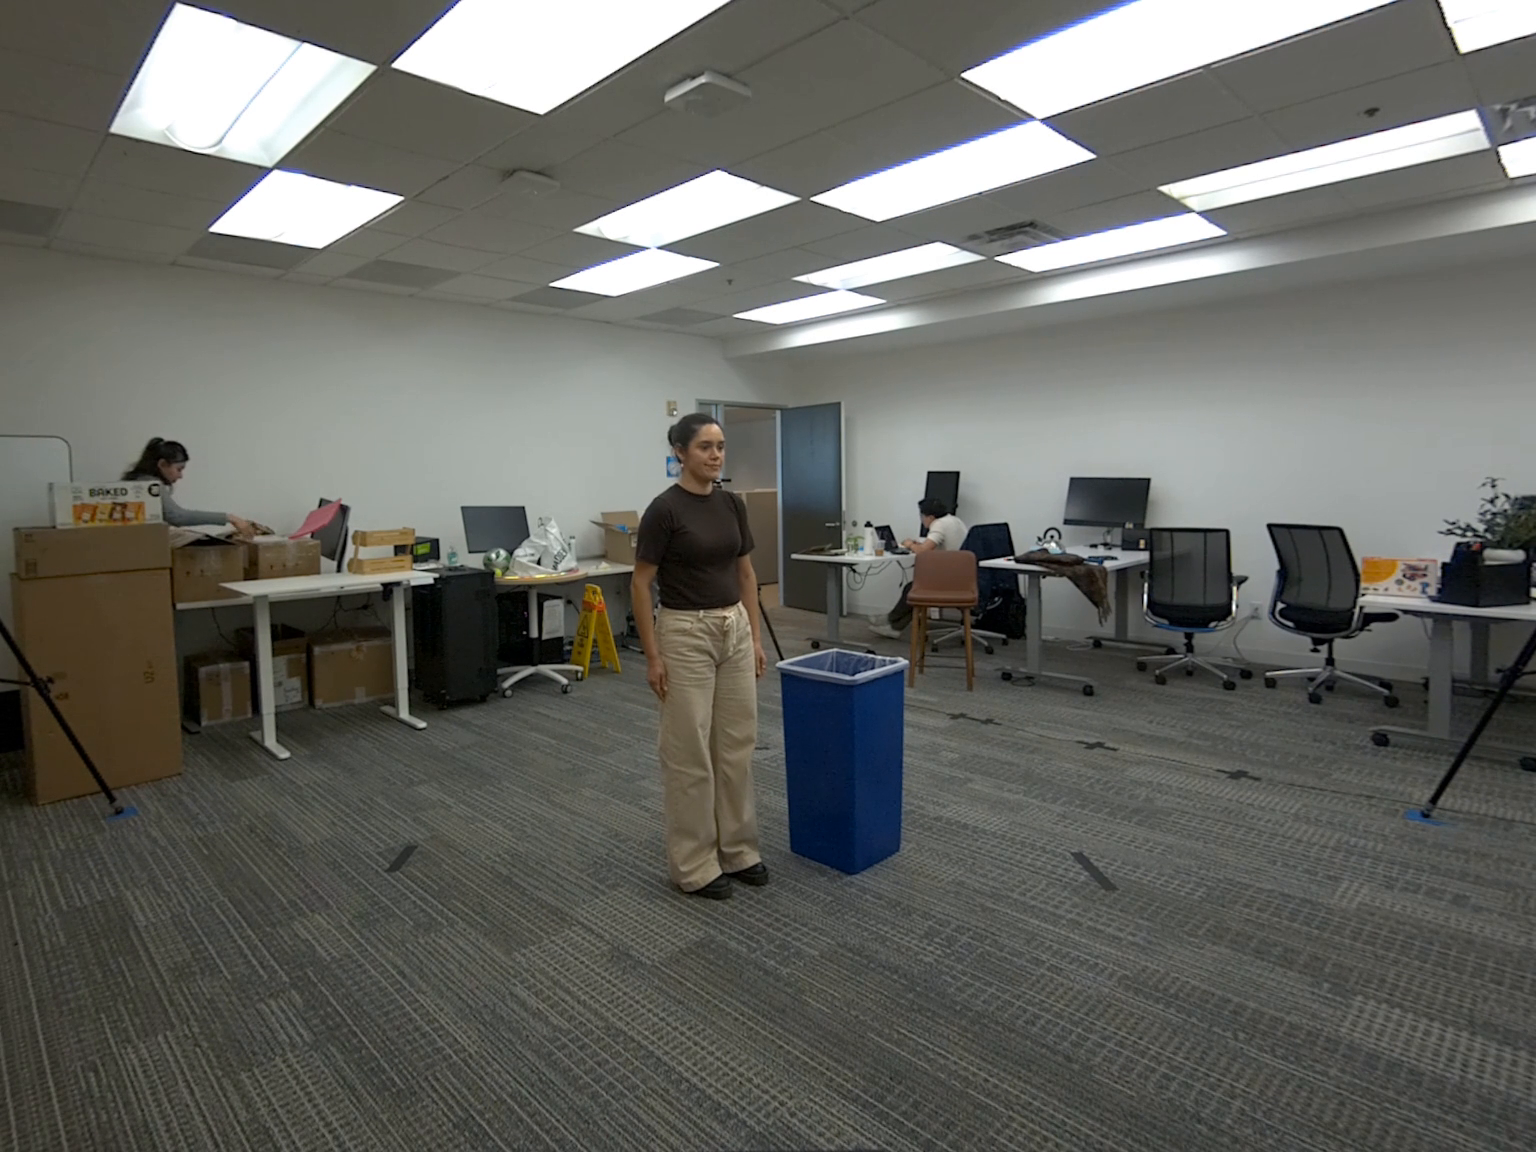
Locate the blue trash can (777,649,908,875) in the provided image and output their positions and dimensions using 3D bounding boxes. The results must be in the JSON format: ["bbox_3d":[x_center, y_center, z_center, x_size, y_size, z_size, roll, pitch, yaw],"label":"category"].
[{"bbox_3d":[0.284,0.673,3.170,0.389,0.711,0.364,2,5,43],"label":"blue trash can"}]
